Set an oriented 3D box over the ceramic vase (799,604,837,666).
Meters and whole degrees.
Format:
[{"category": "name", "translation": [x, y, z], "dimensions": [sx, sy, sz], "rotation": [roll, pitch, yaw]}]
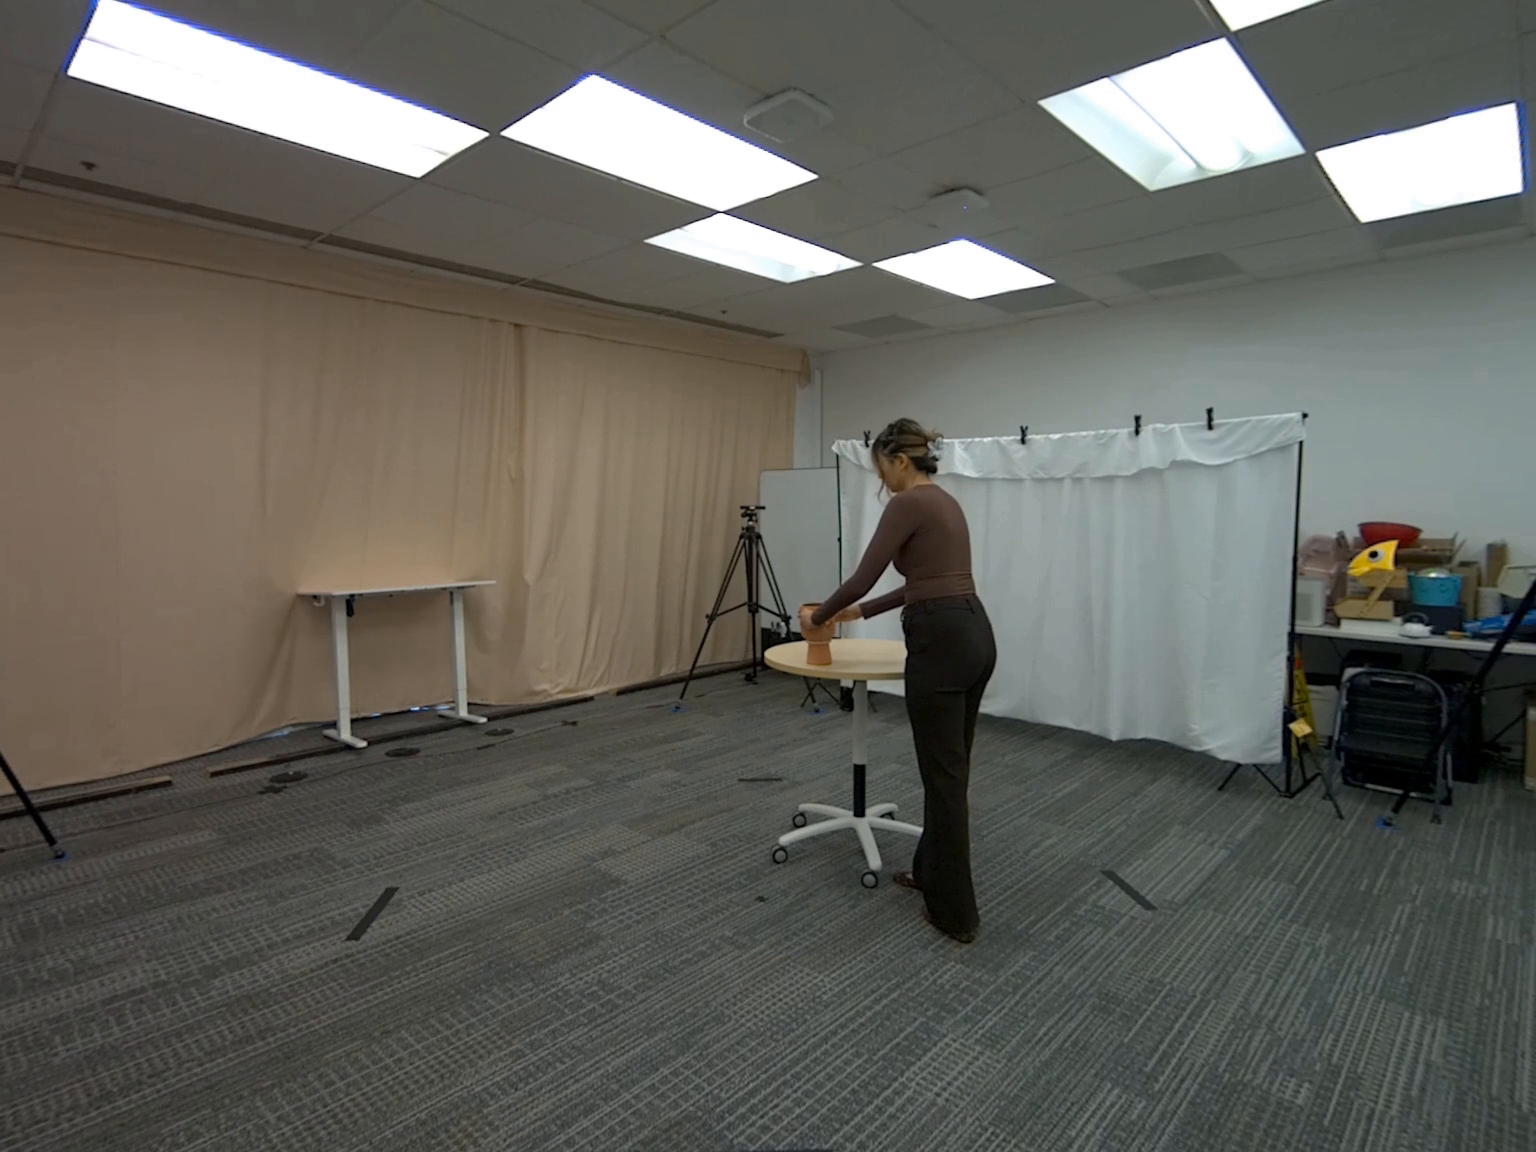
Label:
[{"category": "ceramic vase", "translation": [0.198, 0.220, 3.182], "dimensions": [0.136, 0.219, 0.157], "rotation": [-1, 6, 12]}]
